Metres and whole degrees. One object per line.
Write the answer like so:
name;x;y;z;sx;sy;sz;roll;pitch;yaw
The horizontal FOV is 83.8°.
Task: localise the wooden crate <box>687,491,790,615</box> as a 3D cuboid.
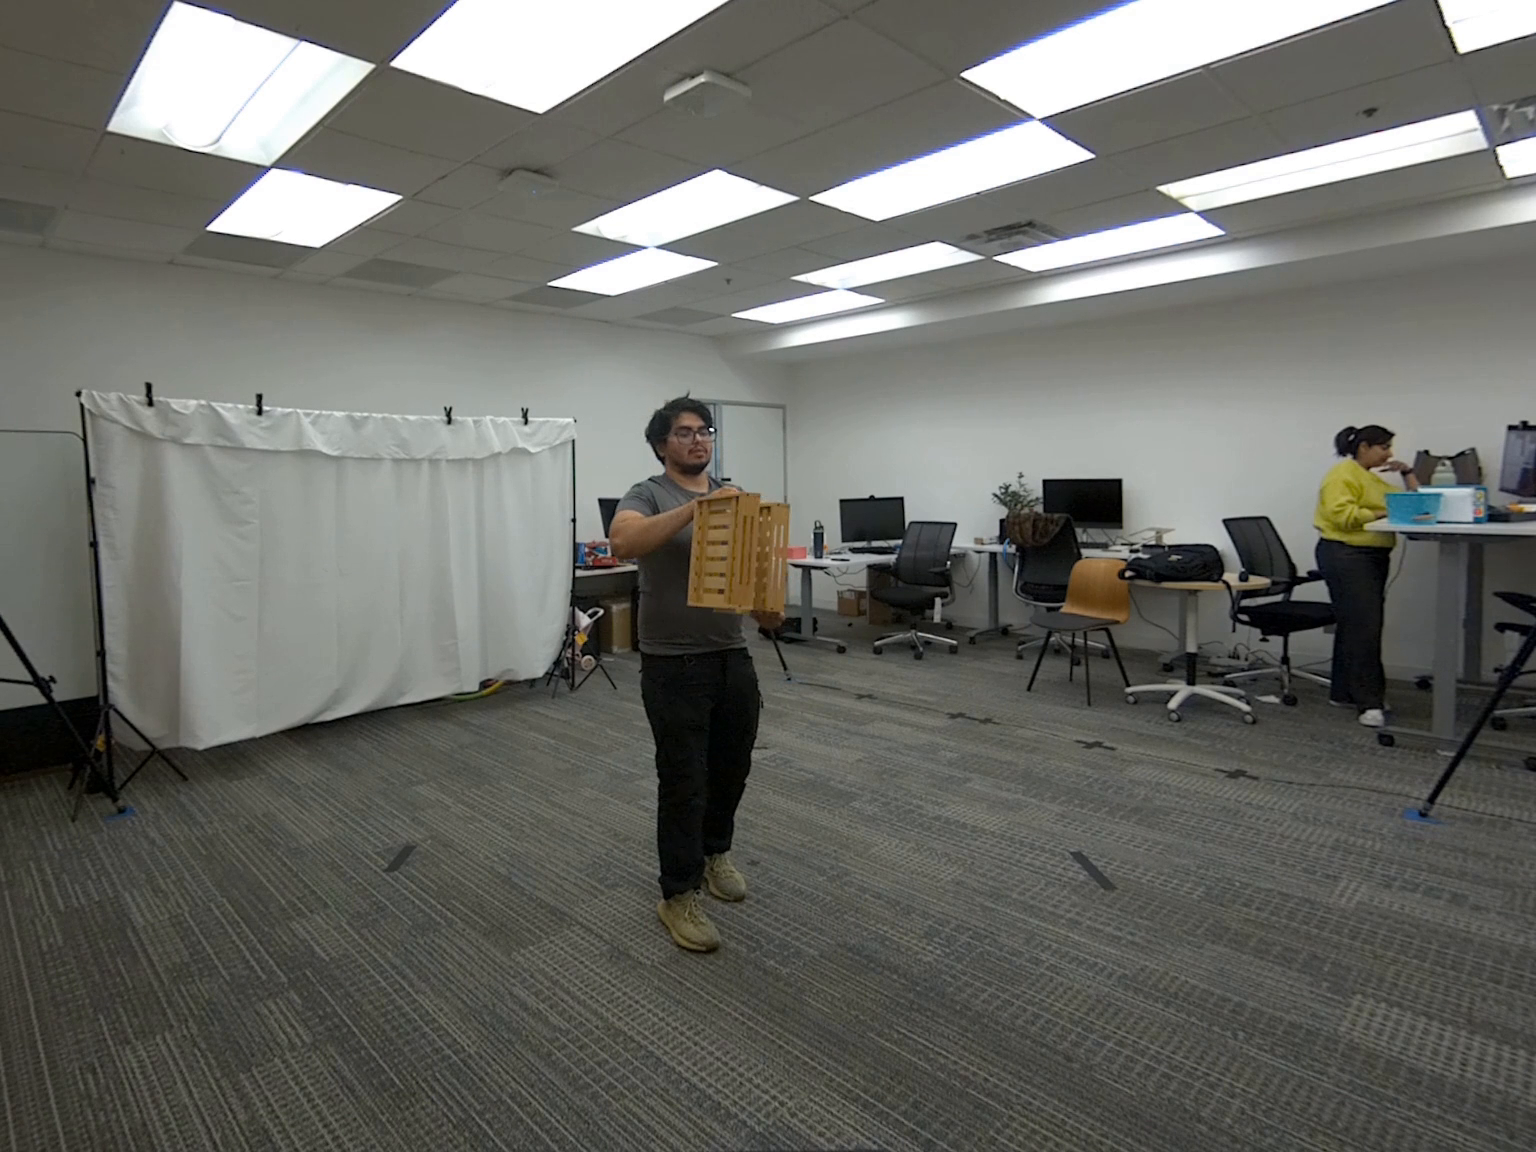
wooden crate;-0.054;-0.053;2.370;0.265;0.326;0.310;7;-5;-37
